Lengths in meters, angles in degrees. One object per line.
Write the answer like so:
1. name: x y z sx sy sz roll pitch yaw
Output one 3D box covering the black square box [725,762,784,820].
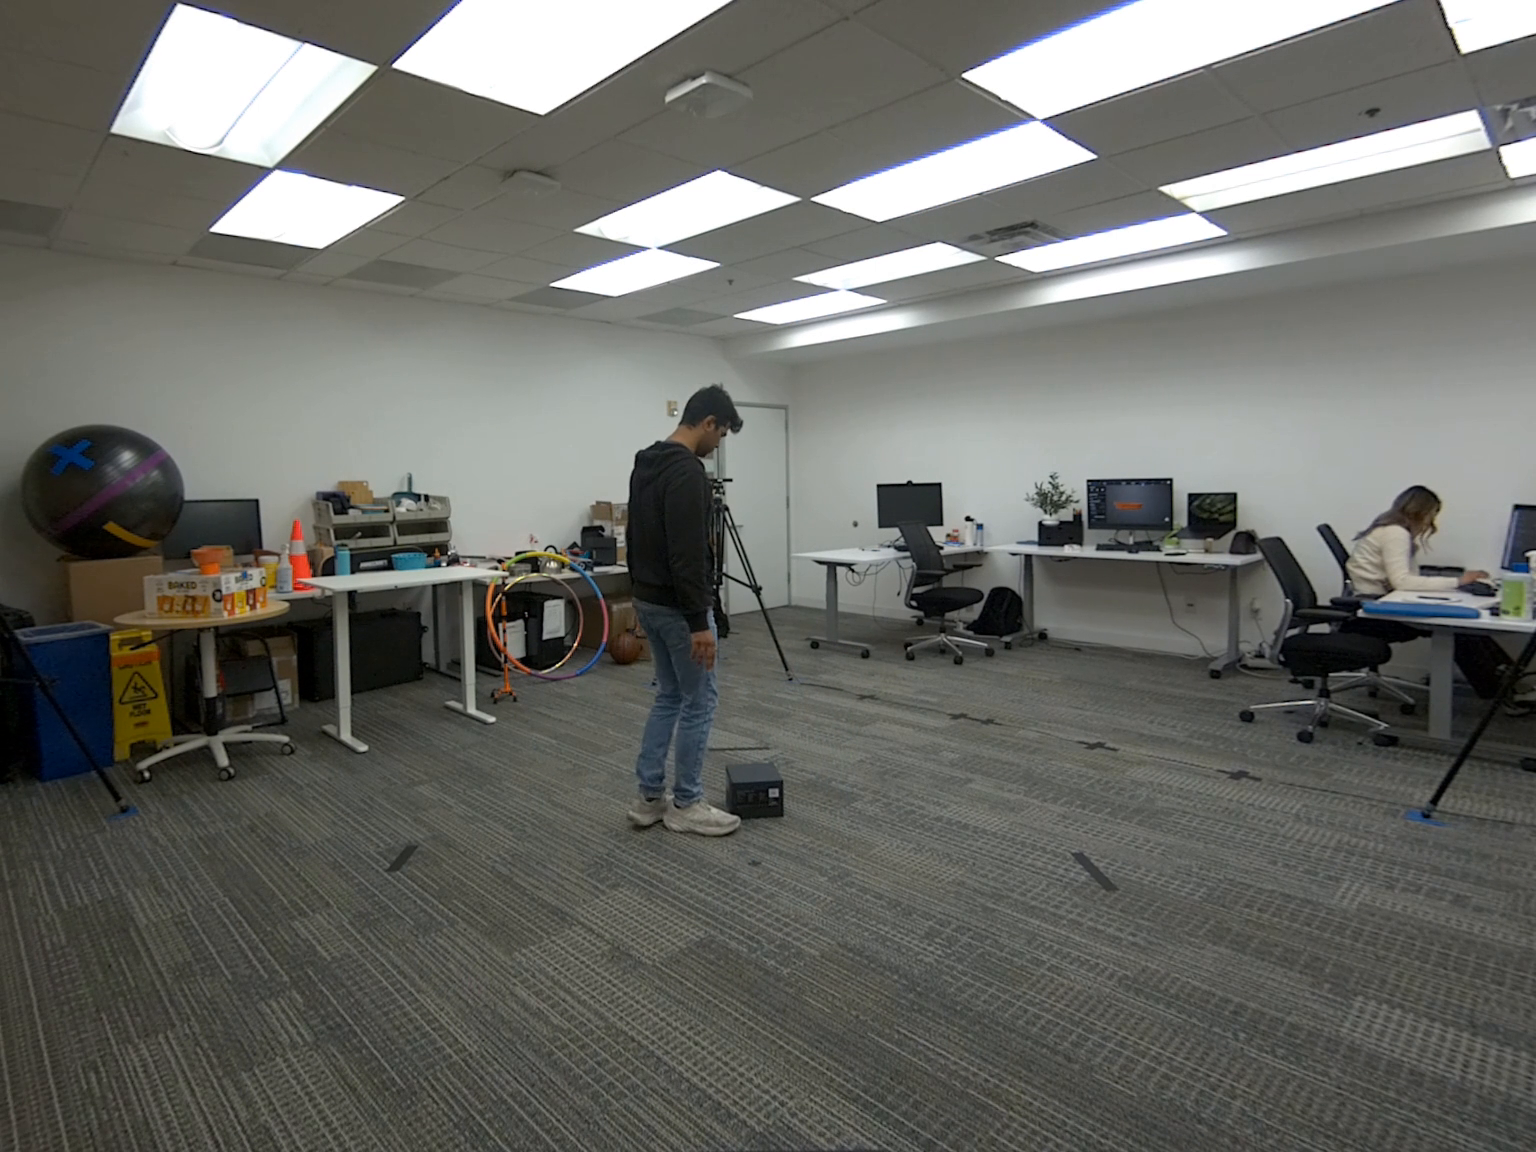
1. black square box: -0.061 0.902 3.611 0.215 0.155 0.230 -2 6 -8
